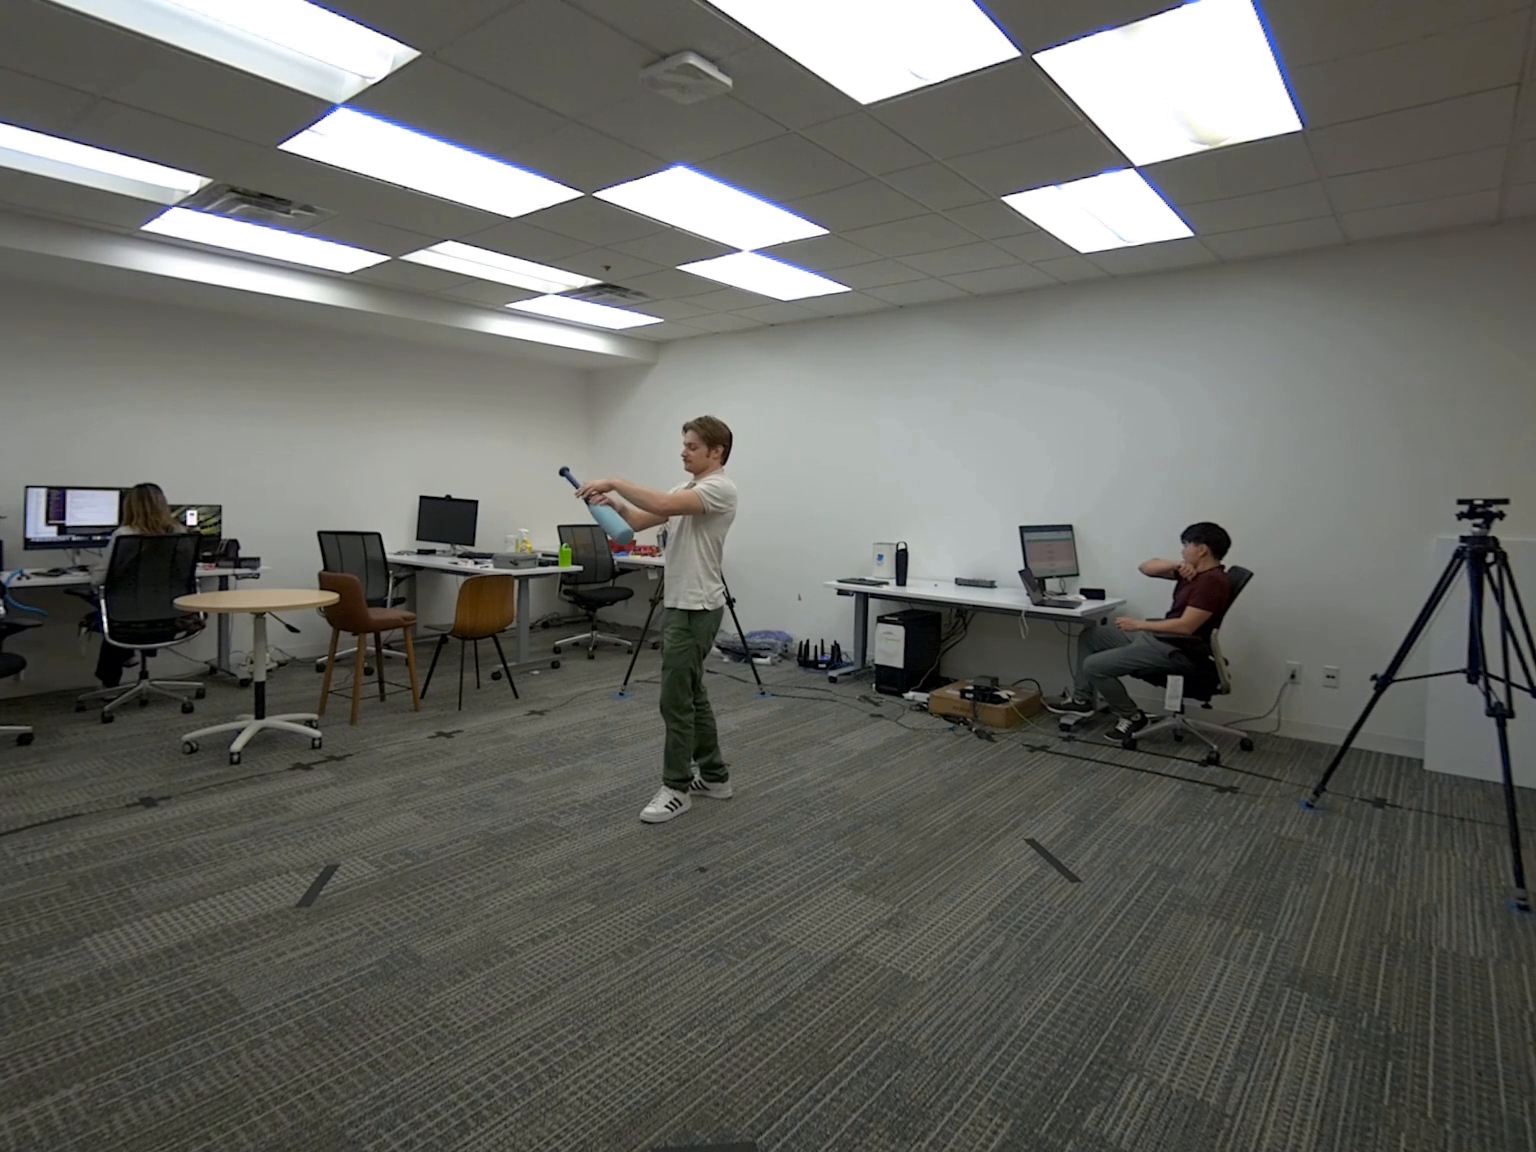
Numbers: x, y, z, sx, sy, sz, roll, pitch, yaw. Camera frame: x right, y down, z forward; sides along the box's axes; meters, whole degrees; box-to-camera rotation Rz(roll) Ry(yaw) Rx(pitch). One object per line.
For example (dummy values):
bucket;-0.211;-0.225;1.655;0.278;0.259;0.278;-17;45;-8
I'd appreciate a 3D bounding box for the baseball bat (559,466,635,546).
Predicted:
baseball bat;-0.750;-0.307;3.578;0.086;0.088;0.566;-2;35;-44
